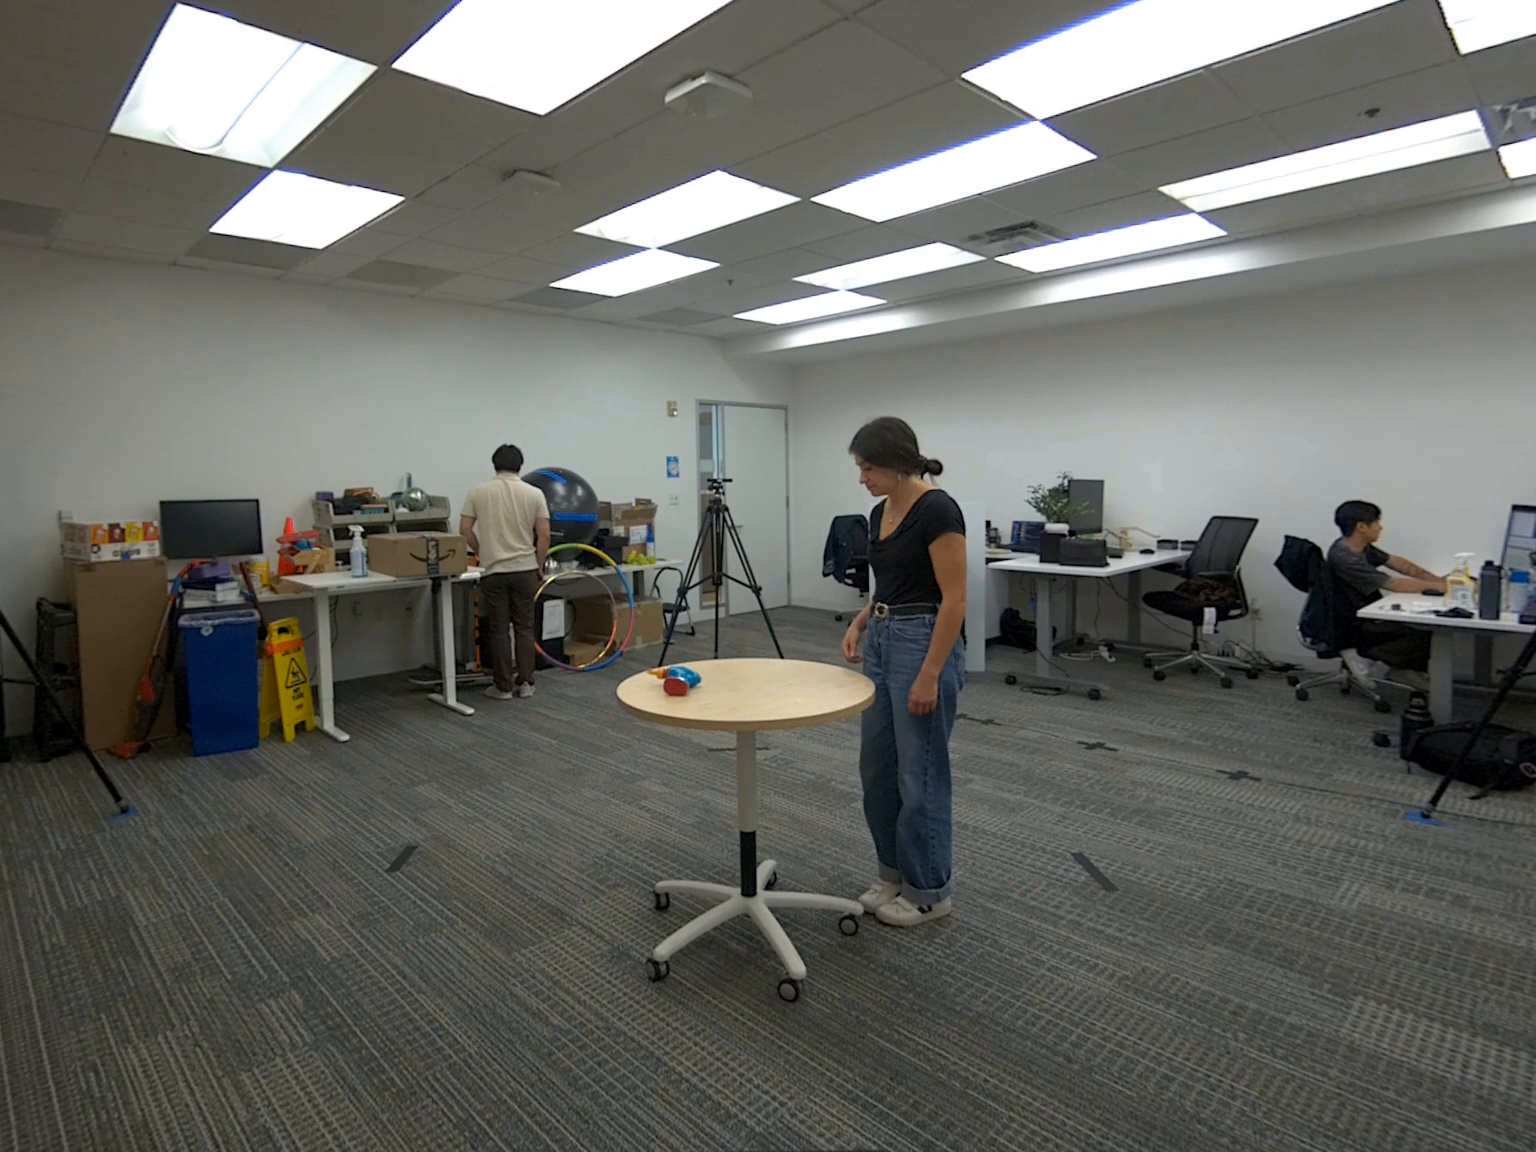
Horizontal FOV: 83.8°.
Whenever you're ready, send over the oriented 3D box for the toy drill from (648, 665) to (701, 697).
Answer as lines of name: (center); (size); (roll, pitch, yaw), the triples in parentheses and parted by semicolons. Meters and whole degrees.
toy drill: (-0.278, 0.305, 2.510); (0.172, 0.061, 0.145); (9, 8, 9)
